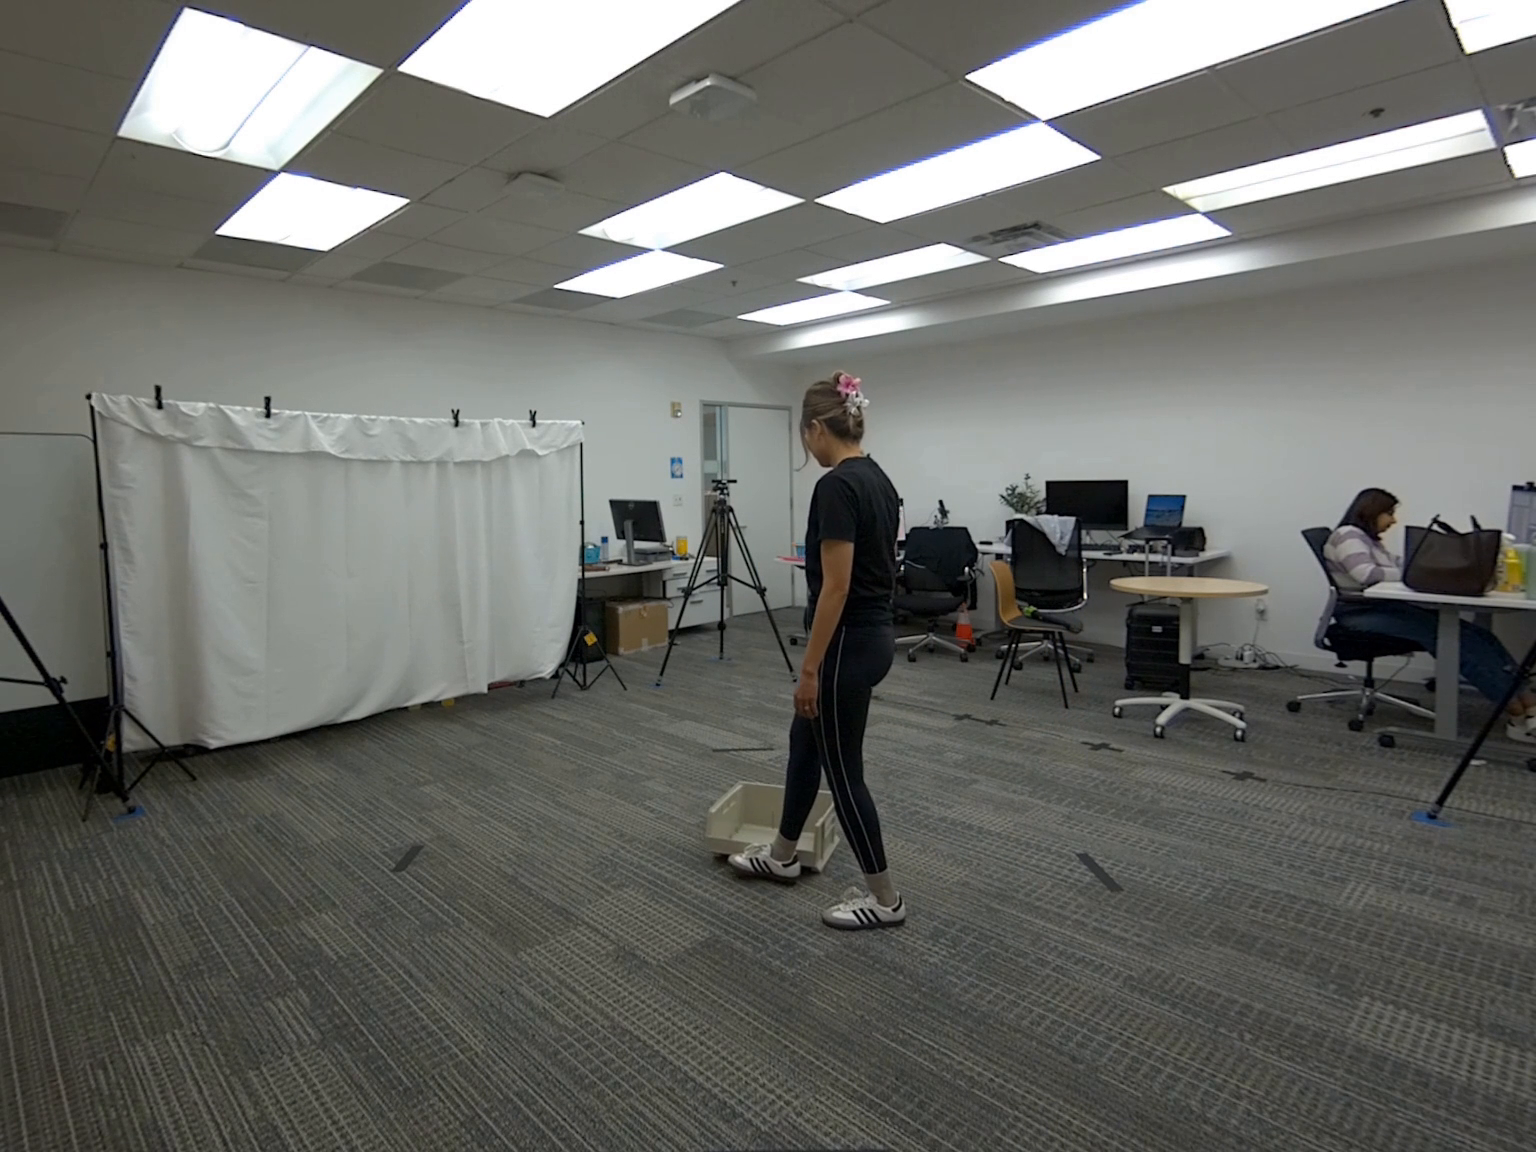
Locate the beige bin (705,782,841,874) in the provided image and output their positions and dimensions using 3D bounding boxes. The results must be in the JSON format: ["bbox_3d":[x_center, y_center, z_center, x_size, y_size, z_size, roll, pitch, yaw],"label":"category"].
[{"bbox_3d":[0.031,0.941,3.211,0.430,0.188,0.371,1,4,19],"label":"beige bin"}]
